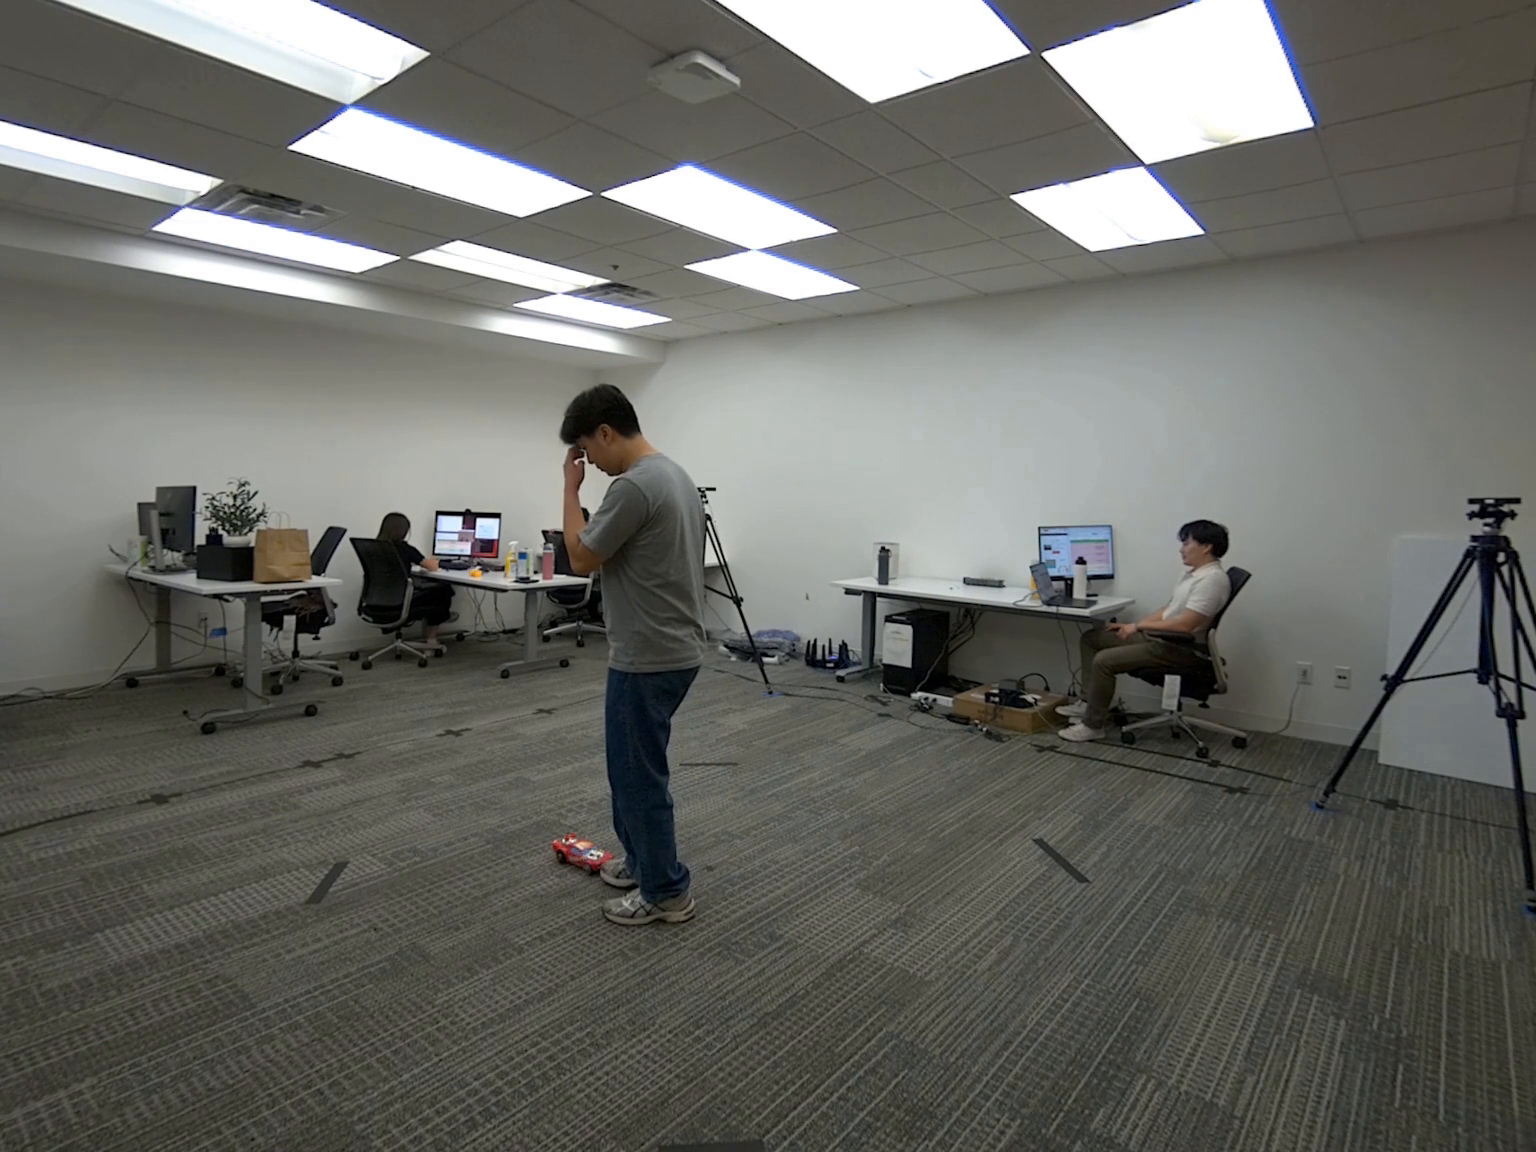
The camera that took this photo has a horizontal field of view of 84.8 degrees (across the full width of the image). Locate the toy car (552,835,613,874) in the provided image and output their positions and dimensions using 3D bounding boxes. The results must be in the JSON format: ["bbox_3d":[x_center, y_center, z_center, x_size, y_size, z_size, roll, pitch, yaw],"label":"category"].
[{"bbox_3d":[-0.700,1.021,3.134,0.264,0.082,0.126,19,14,37],"label":"toy car"}]
